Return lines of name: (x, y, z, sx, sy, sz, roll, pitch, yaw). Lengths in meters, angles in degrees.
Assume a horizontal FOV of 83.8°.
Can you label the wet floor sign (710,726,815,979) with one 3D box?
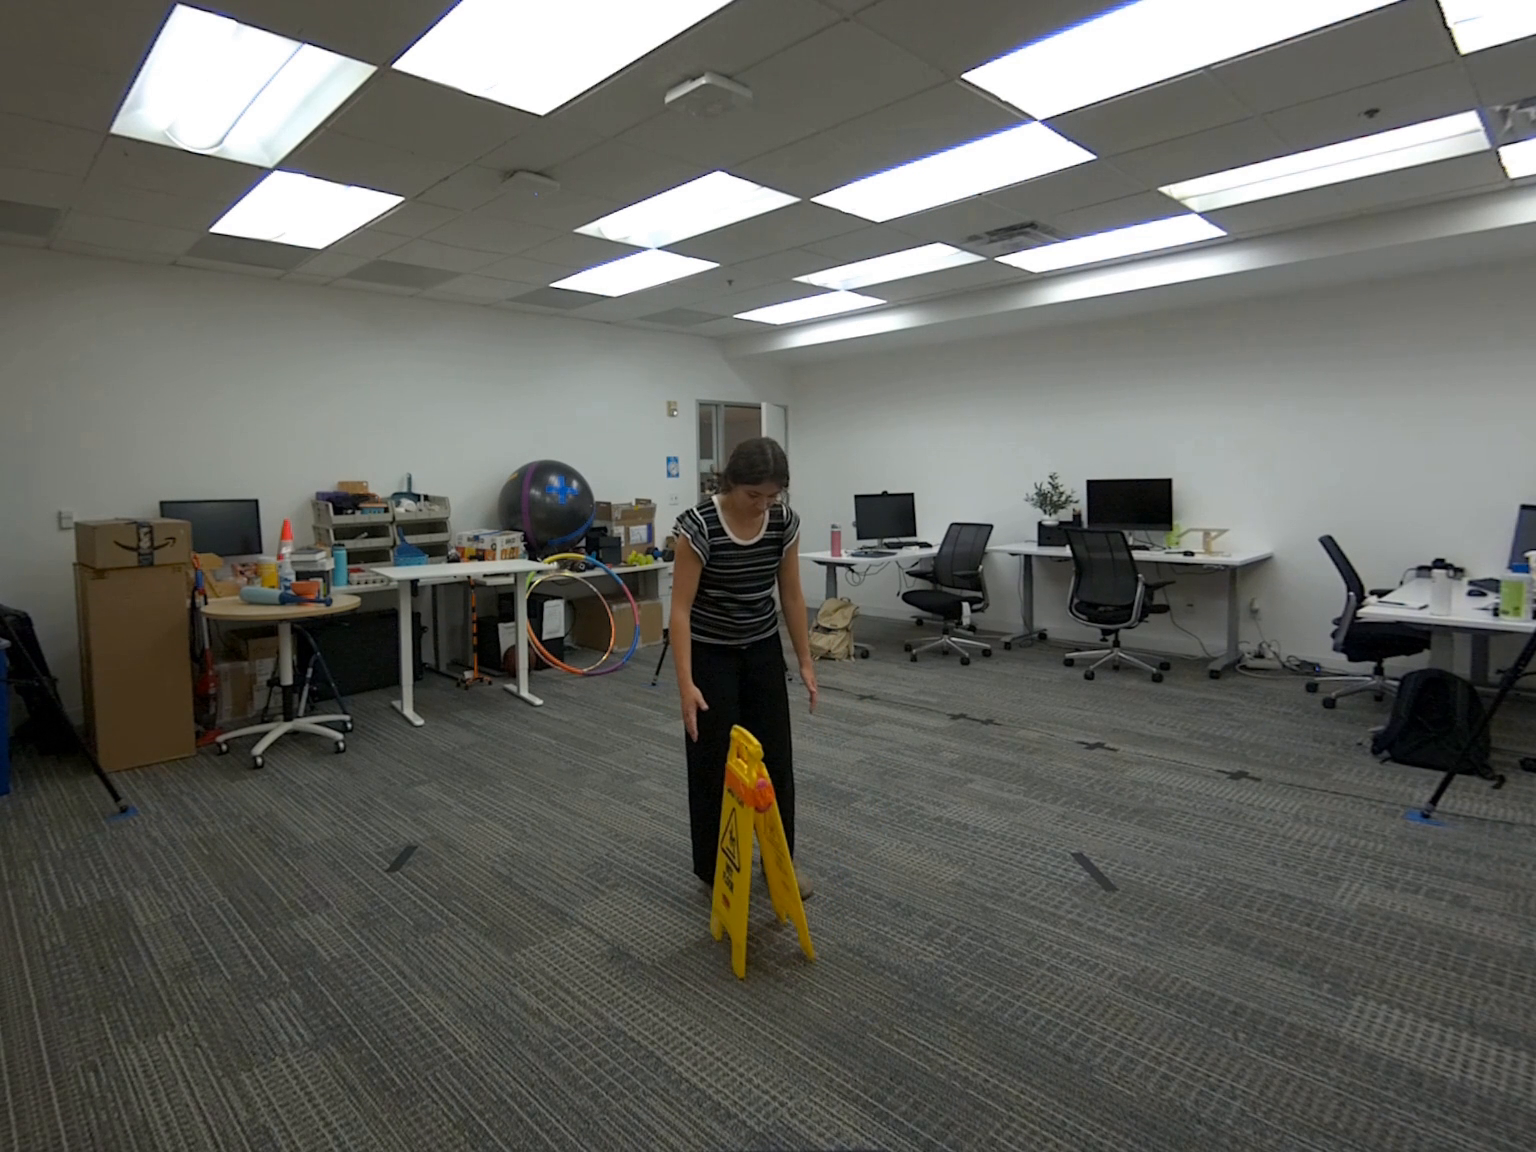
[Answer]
wet floor sign: (-0.035, 0.784, 2.521, 0.285, 0.643, 0.288, -5, 6, -19)
